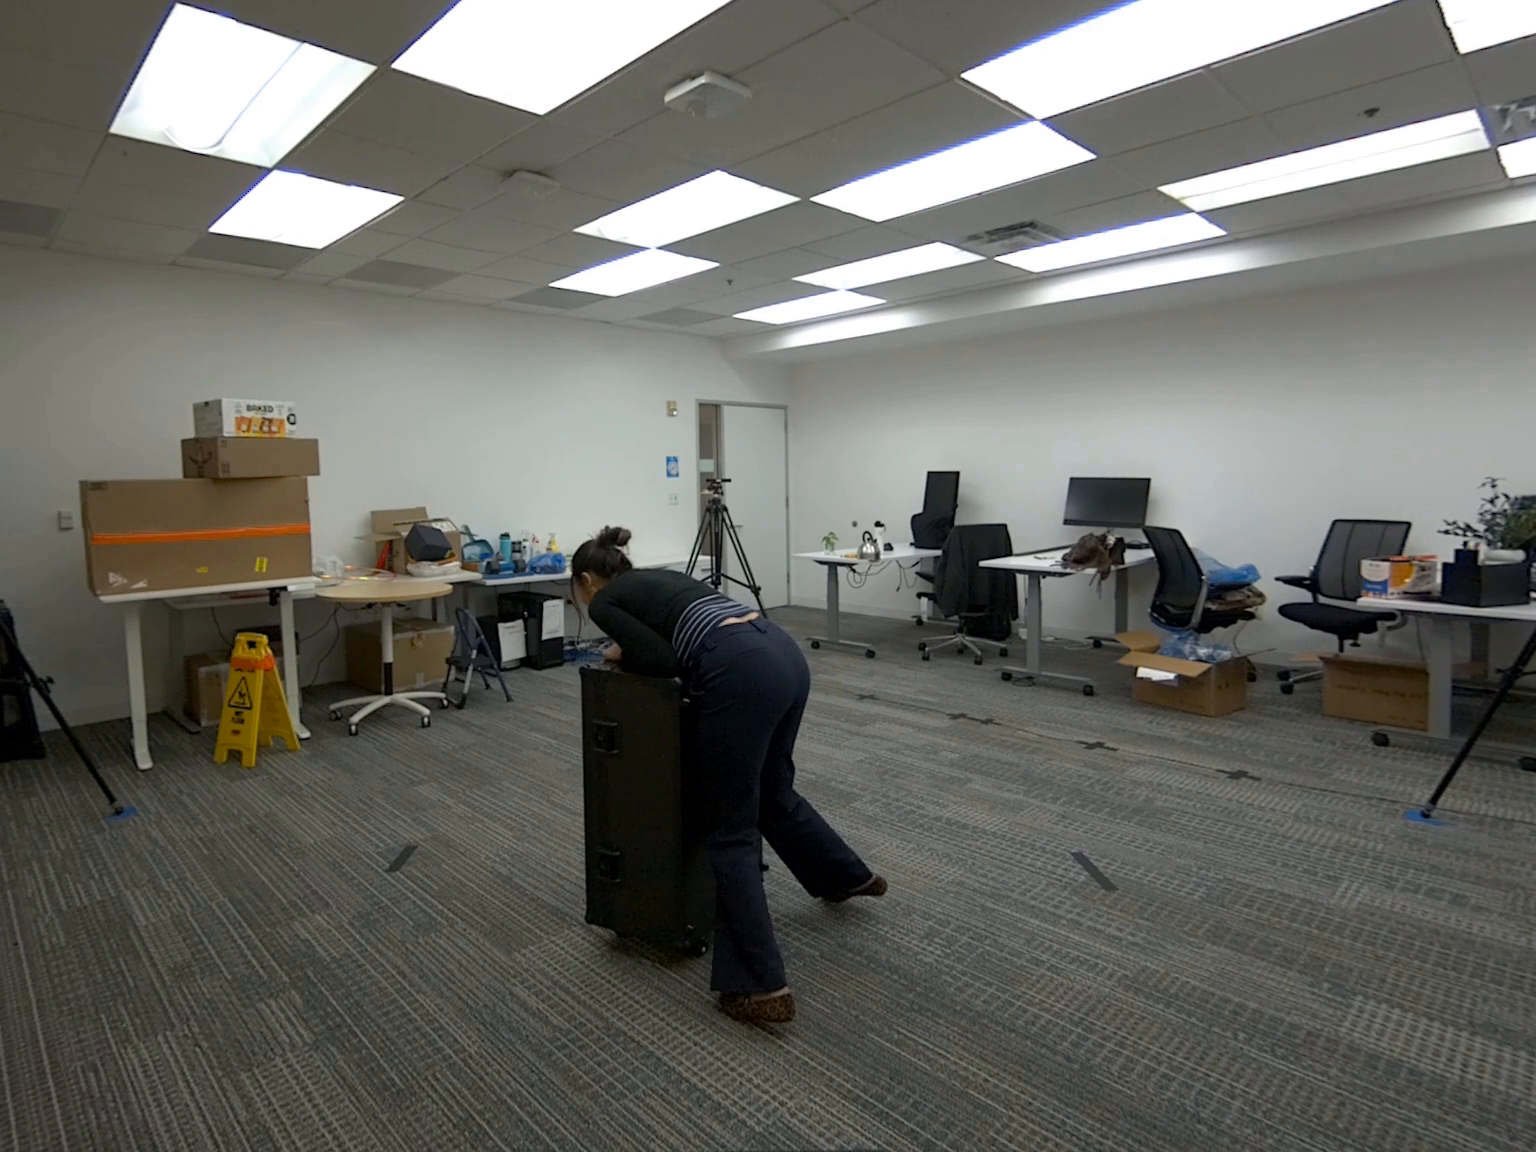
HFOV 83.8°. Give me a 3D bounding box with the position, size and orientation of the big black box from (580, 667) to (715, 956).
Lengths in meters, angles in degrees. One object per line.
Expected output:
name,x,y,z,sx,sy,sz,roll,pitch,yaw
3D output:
big black box,-0.274,0.677,2.669,0.406,0.858,0.510,2,5,27
